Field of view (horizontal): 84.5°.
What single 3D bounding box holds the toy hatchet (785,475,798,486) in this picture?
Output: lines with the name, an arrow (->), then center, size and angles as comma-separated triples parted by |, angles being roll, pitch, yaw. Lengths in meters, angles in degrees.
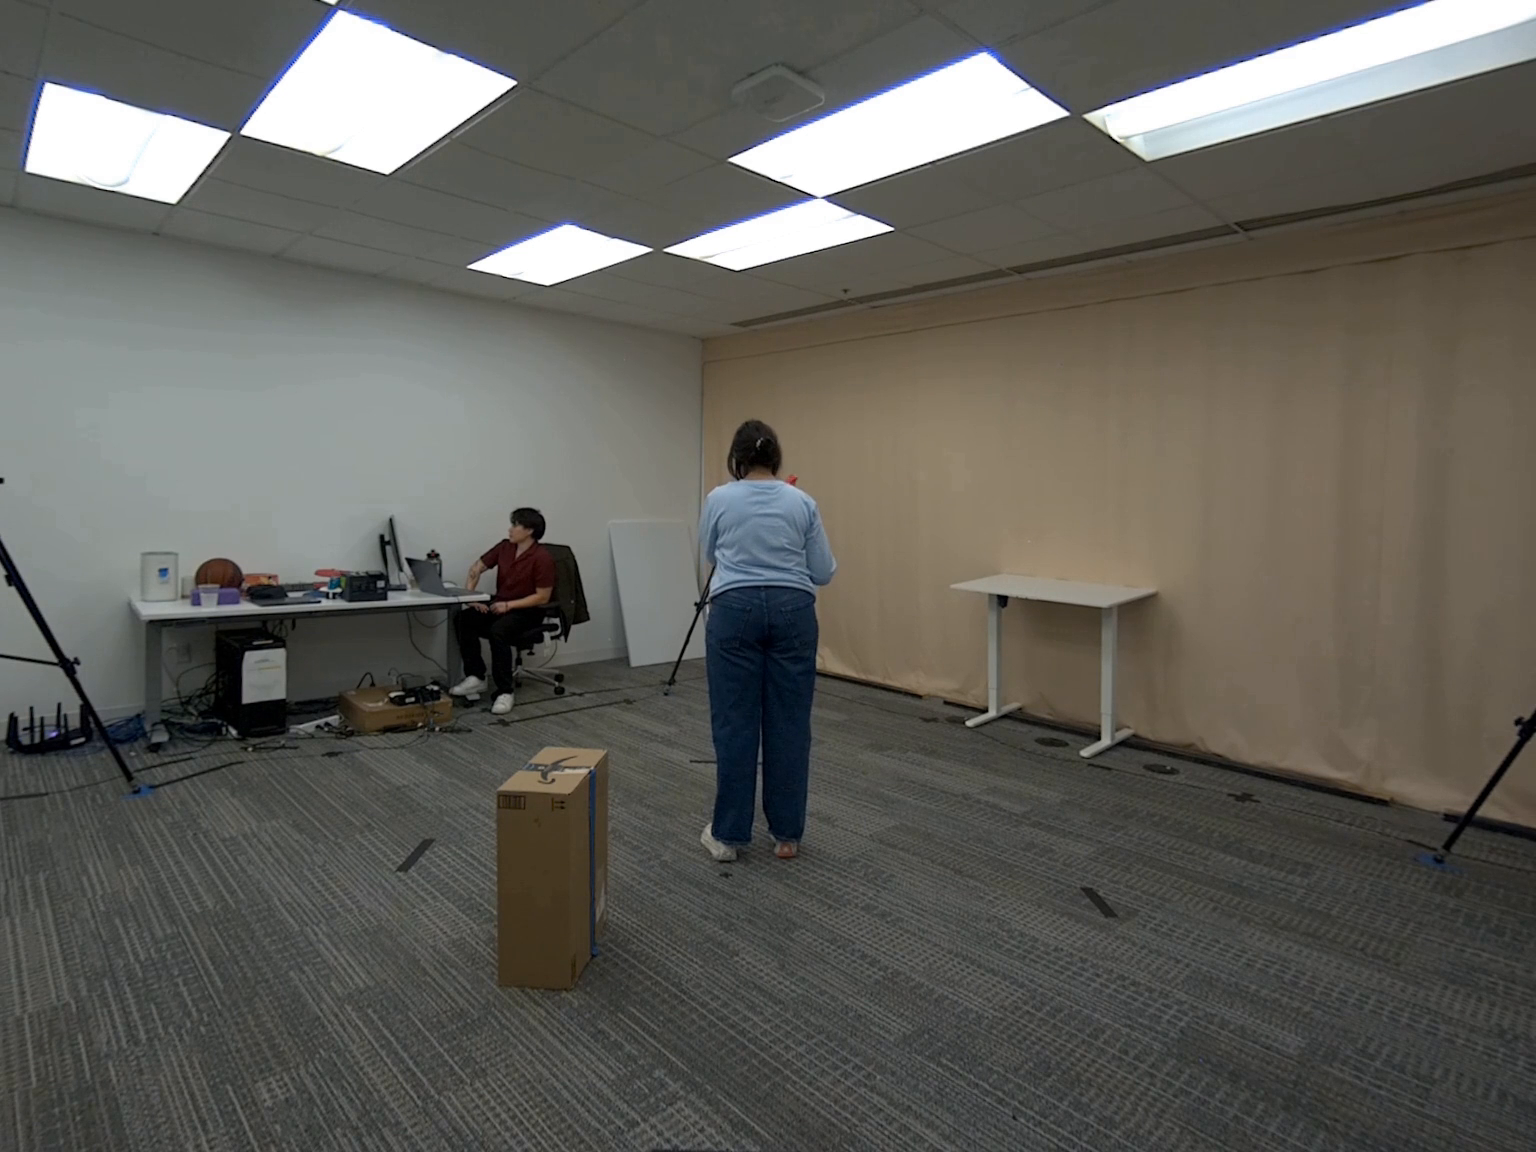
toy hatchet -> 0.073, -0.296, 3.610 | 0.029, 0.270, 0.133 | 8, 1, -18
